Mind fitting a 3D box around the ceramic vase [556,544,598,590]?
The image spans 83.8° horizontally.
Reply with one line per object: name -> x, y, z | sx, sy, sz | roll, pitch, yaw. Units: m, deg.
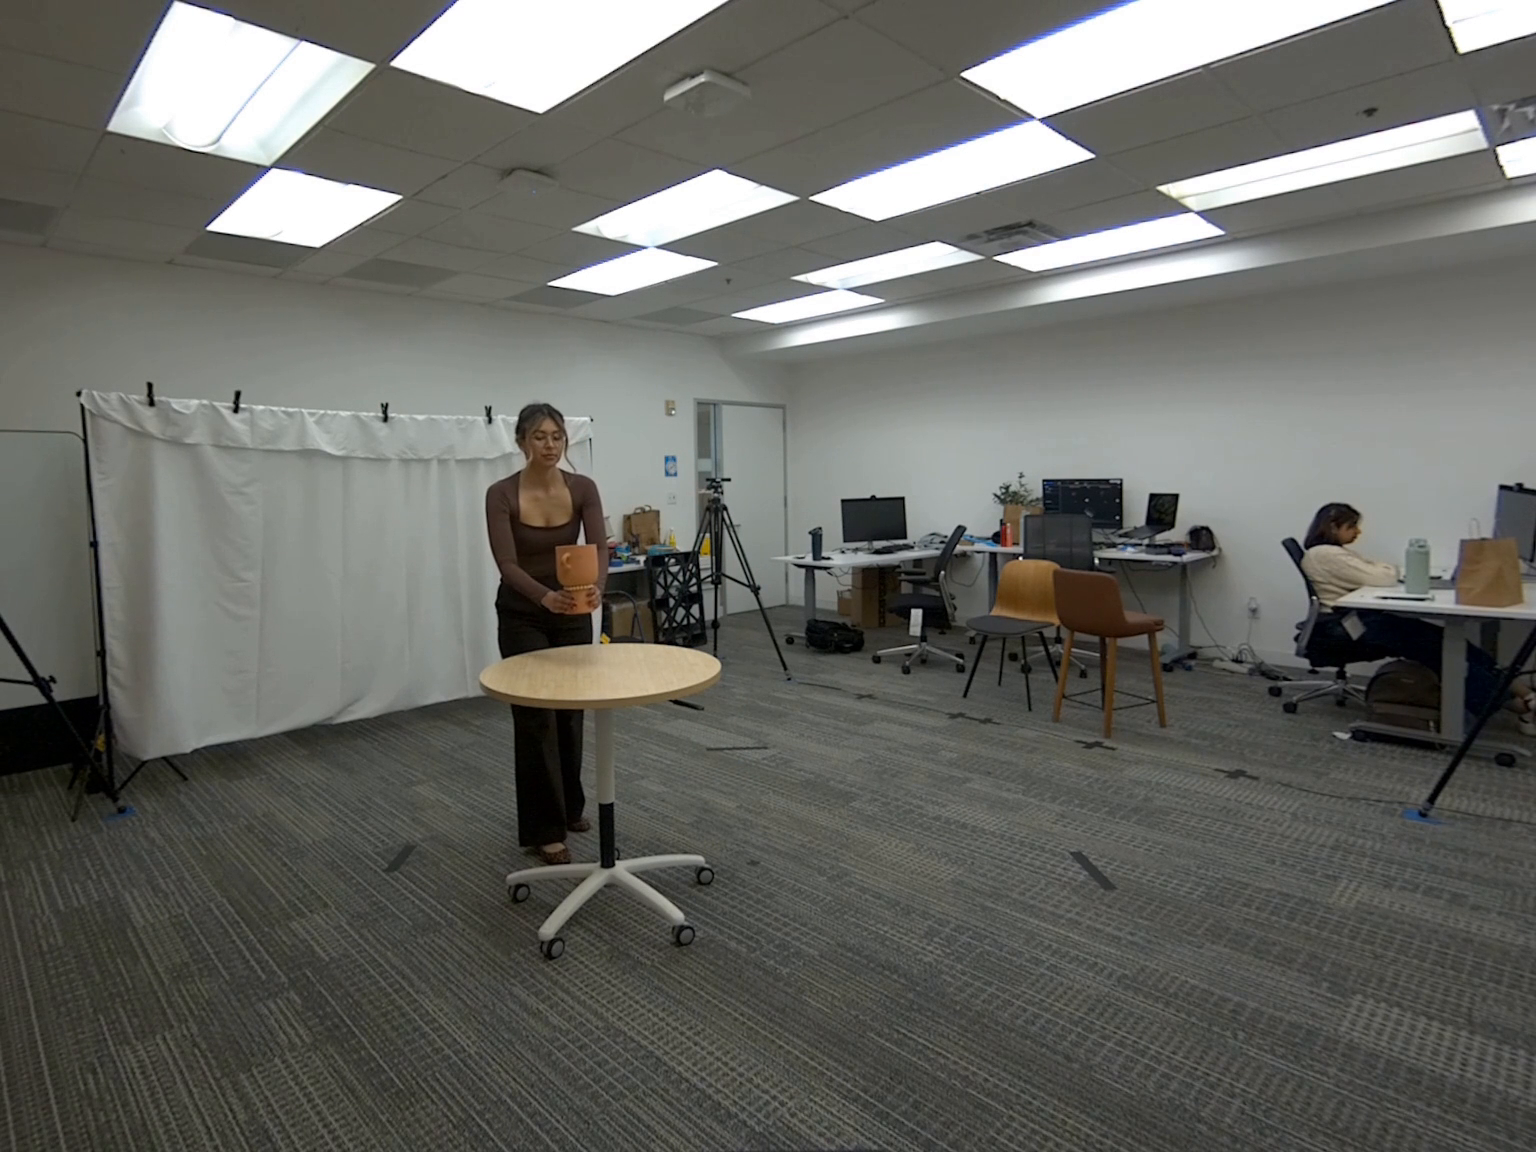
ceramic vase -> -0.617, 0.009, 2.797 | 0.155, 0.219, 0.138 | -4, 2, -38
